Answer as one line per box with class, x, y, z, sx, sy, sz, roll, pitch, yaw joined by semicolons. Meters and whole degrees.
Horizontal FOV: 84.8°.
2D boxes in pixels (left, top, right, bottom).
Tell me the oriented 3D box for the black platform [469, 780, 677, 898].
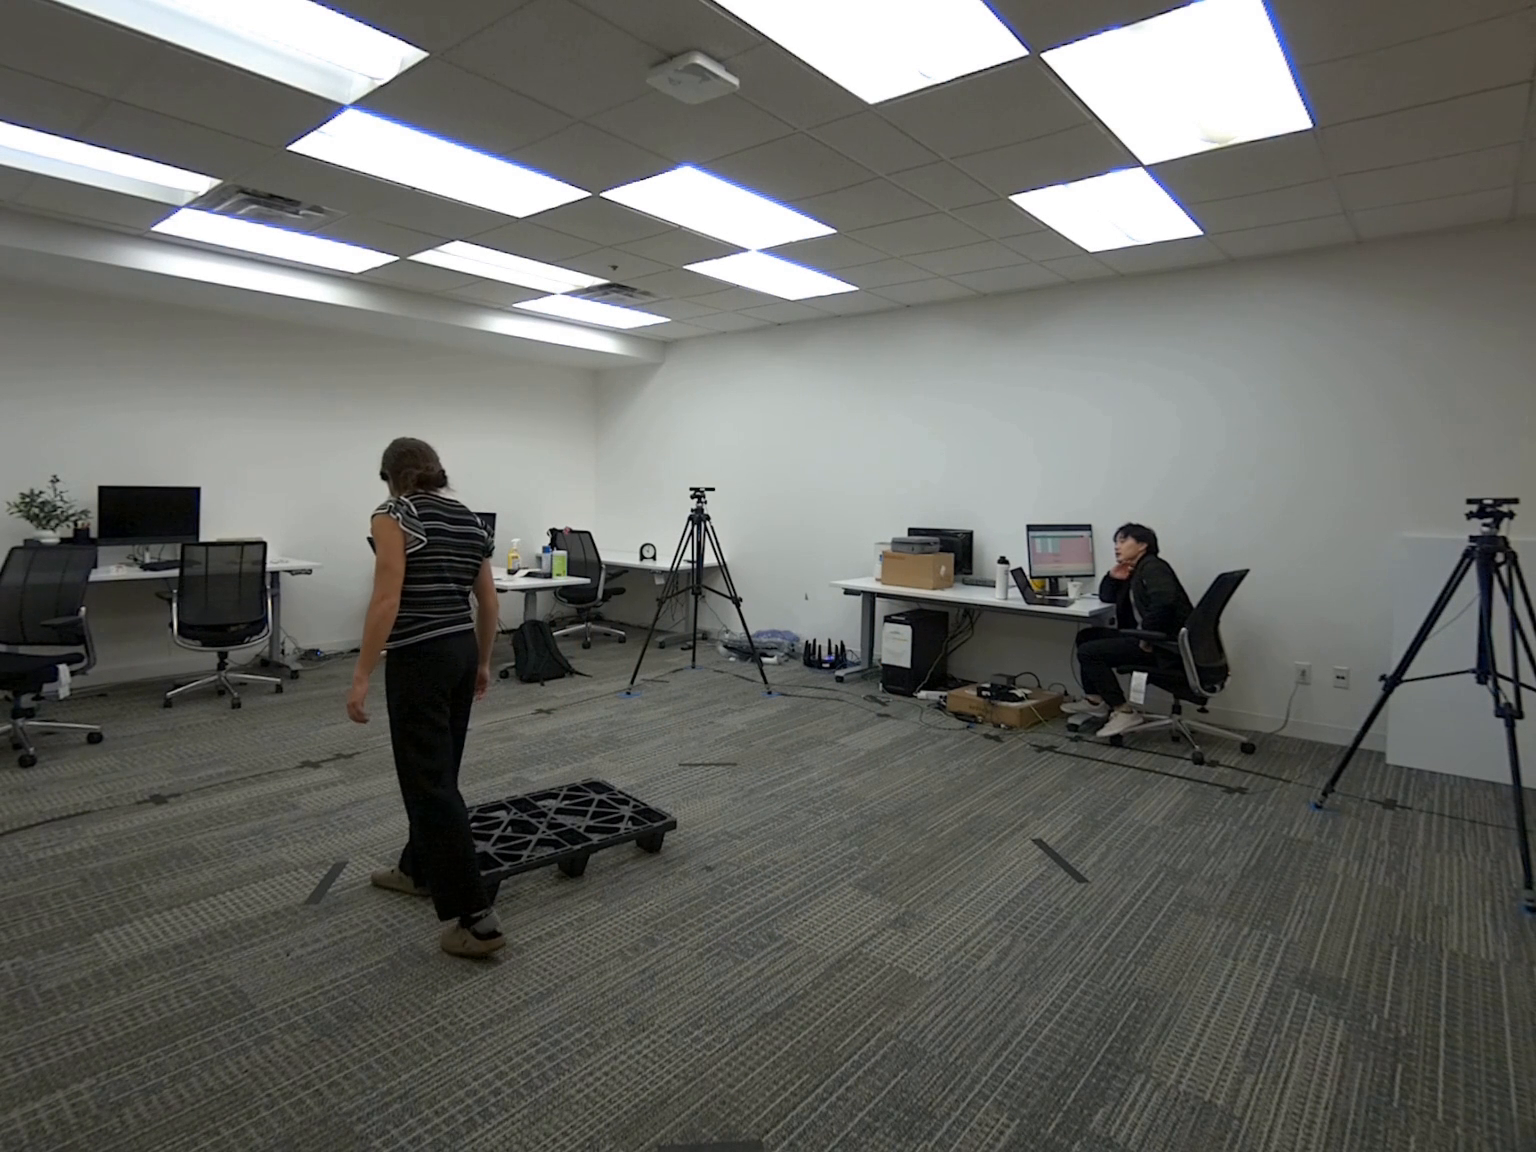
black platform;-0.848;0.980;3.209;0.781;0.143;0.625;-3;6;-41
